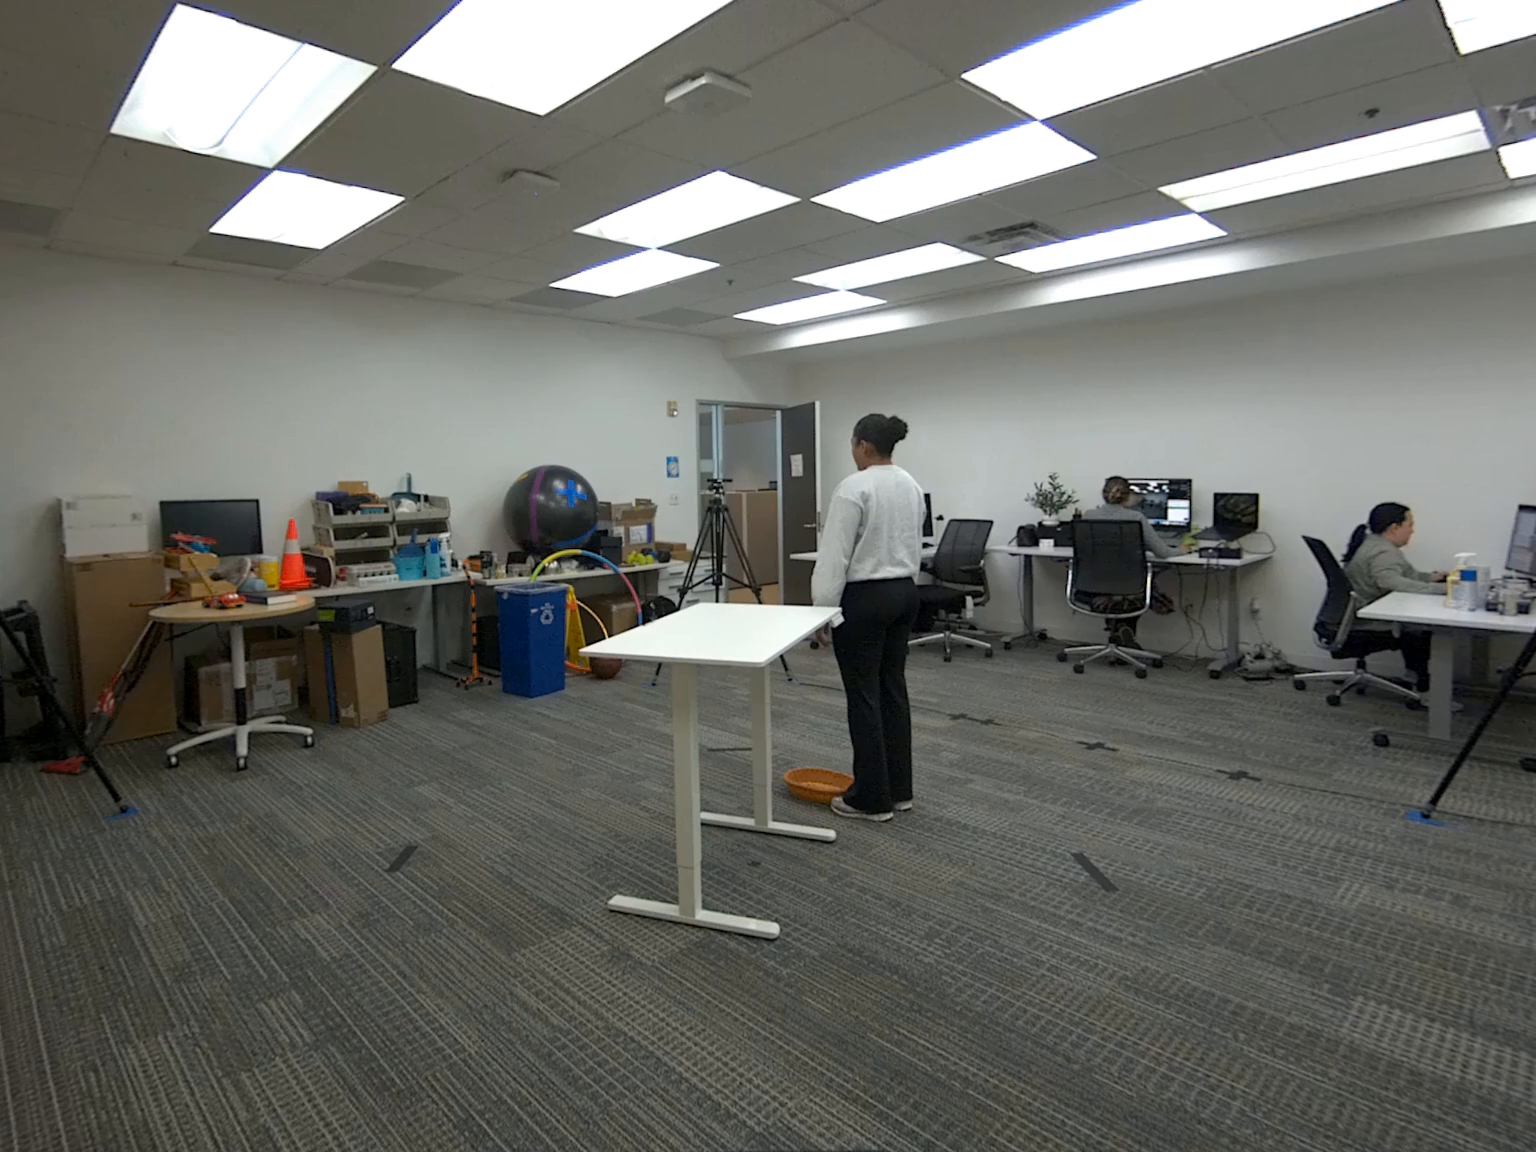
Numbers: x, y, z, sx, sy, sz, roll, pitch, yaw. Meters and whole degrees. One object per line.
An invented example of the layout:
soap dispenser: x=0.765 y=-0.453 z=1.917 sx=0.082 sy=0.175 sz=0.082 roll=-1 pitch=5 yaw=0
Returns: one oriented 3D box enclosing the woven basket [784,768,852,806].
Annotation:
woven basket: x=0.234 y=0.926 z=3.782 sx=0.361 sy=0.073 sz=0.246 roll=4 pitch=7 yaw=40
